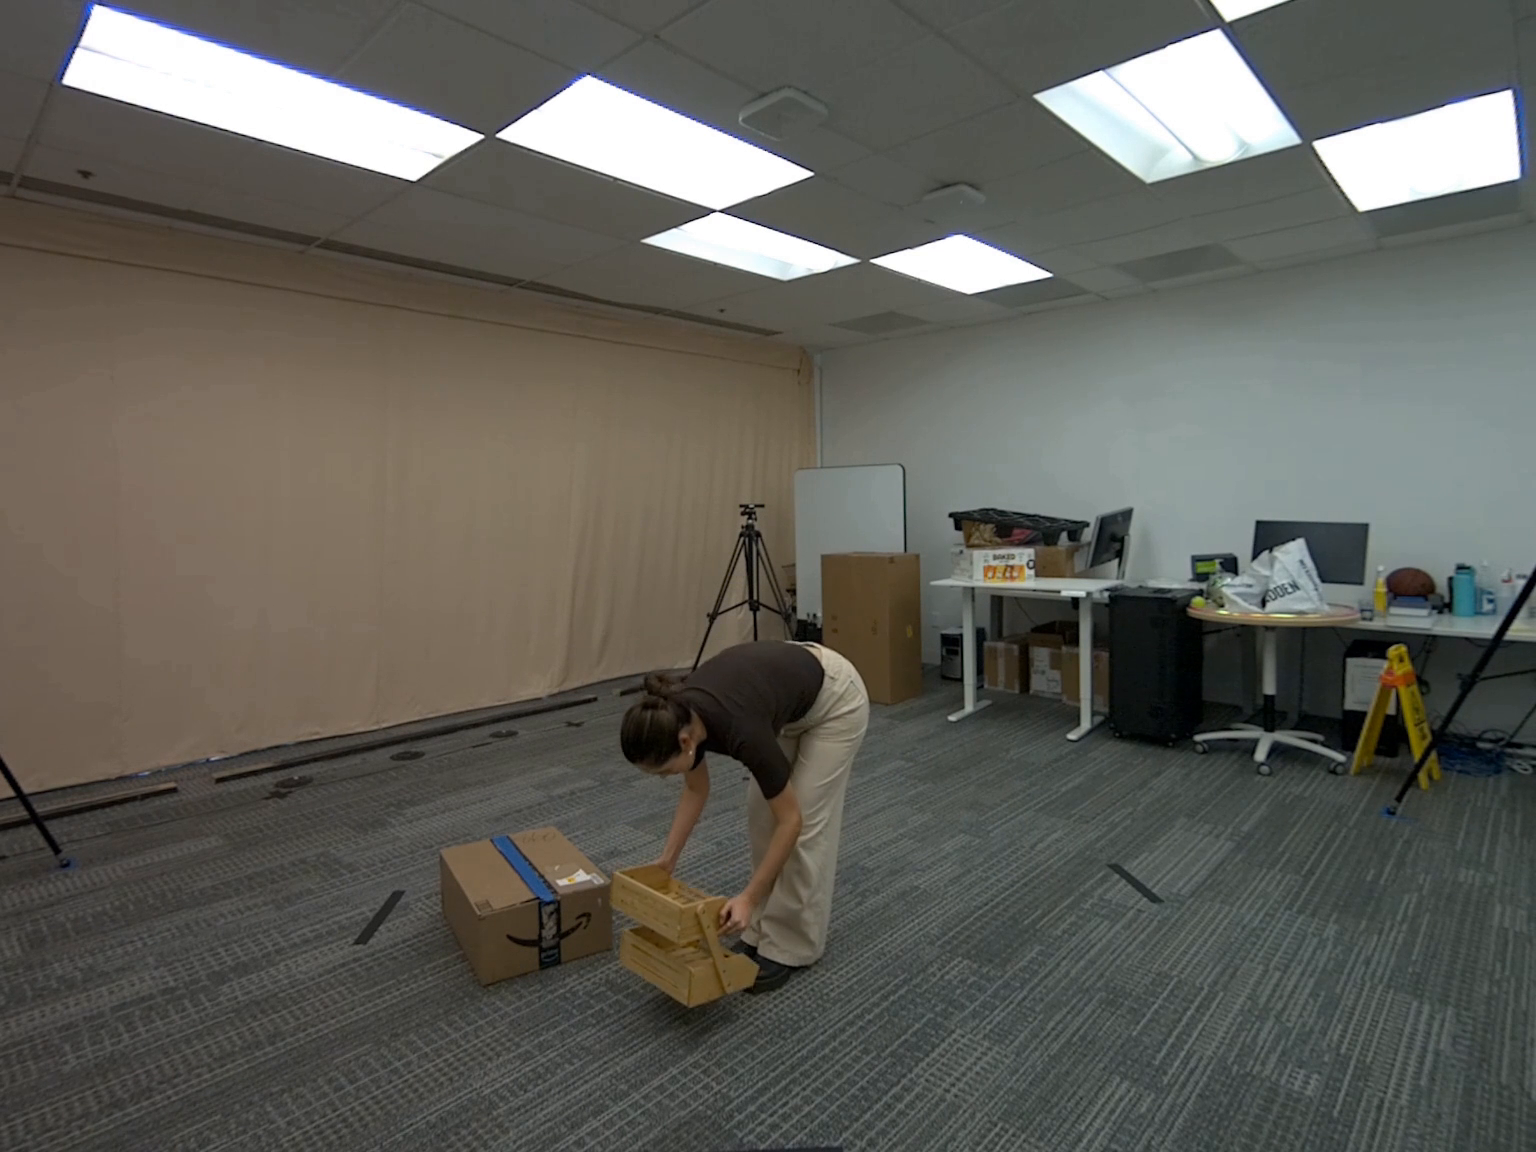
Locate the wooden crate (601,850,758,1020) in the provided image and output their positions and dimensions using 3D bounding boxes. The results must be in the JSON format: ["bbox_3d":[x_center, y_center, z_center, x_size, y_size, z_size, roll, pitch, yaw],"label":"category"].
[{"bbox_3d":[-0.224,0.949,2.298,0.292,0.273,0.335,6,-3,-44],"label":"wooden crate"}]
